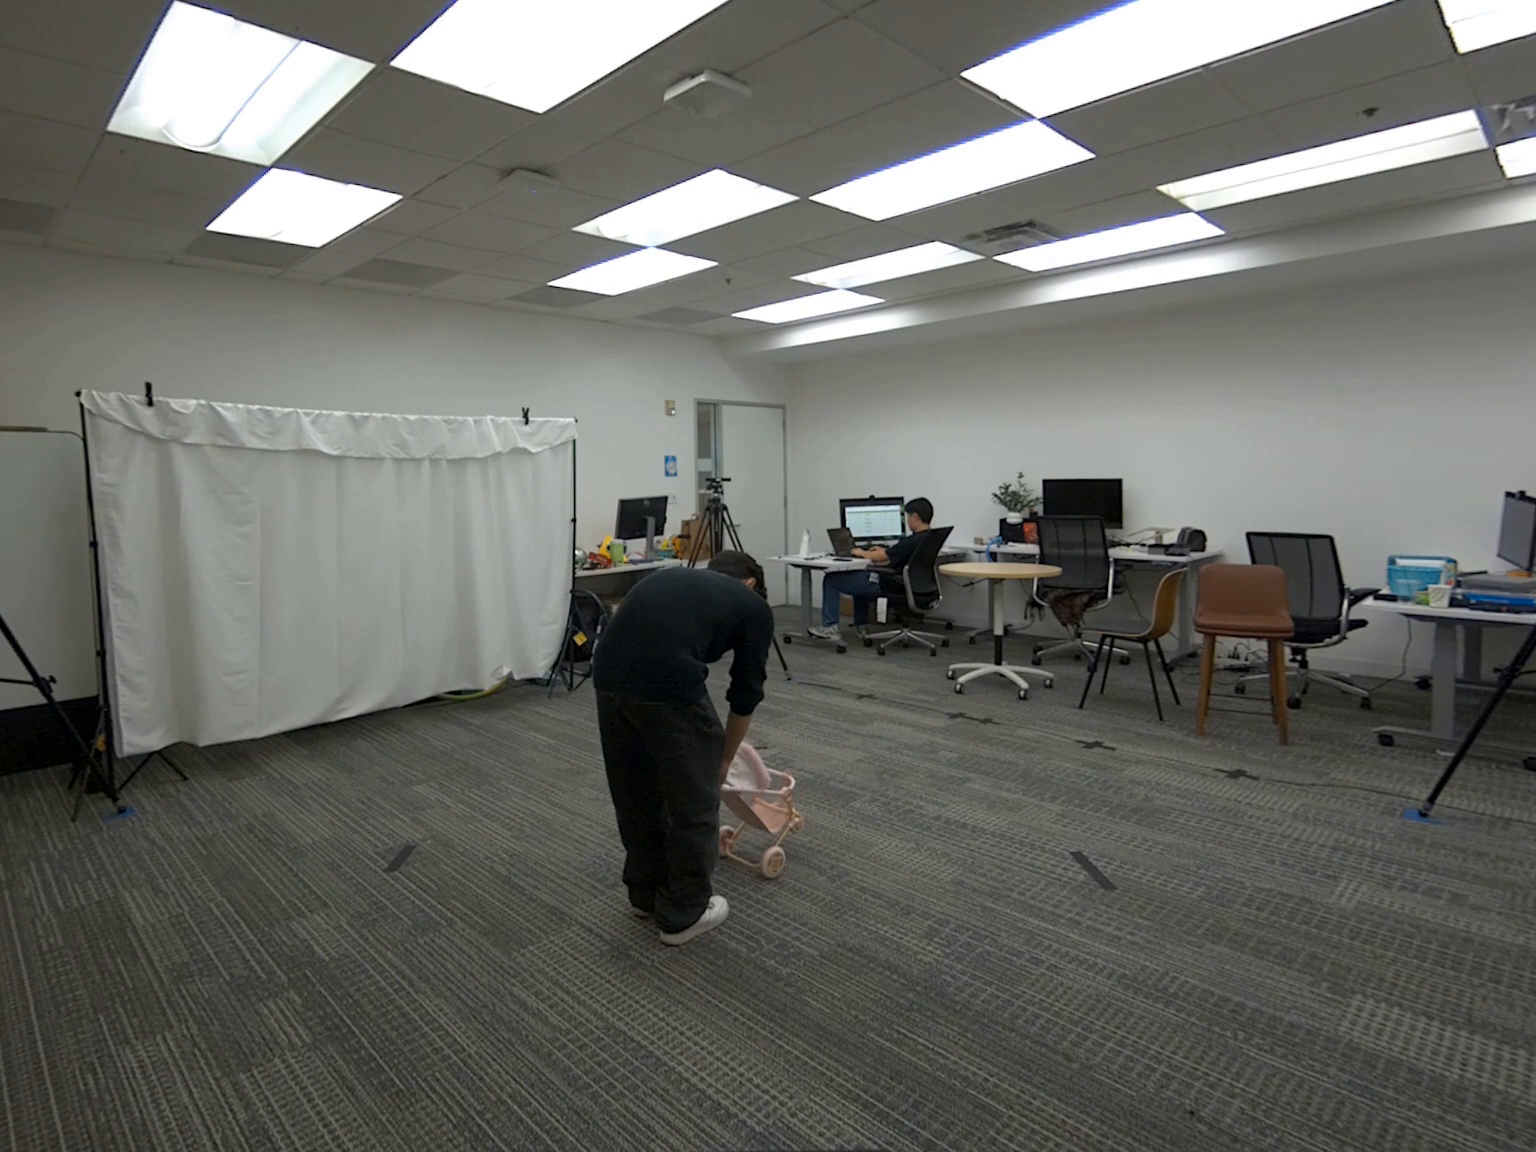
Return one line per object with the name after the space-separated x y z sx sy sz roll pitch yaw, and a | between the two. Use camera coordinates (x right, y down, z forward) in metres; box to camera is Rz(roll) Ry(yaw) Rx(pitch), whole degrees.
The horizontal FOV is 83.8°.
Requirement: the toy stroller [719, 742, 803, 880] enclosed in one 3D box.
-0.049 0.813 3.081 0.339 0.522 0.290 -36 26 -30 | toy stroller
